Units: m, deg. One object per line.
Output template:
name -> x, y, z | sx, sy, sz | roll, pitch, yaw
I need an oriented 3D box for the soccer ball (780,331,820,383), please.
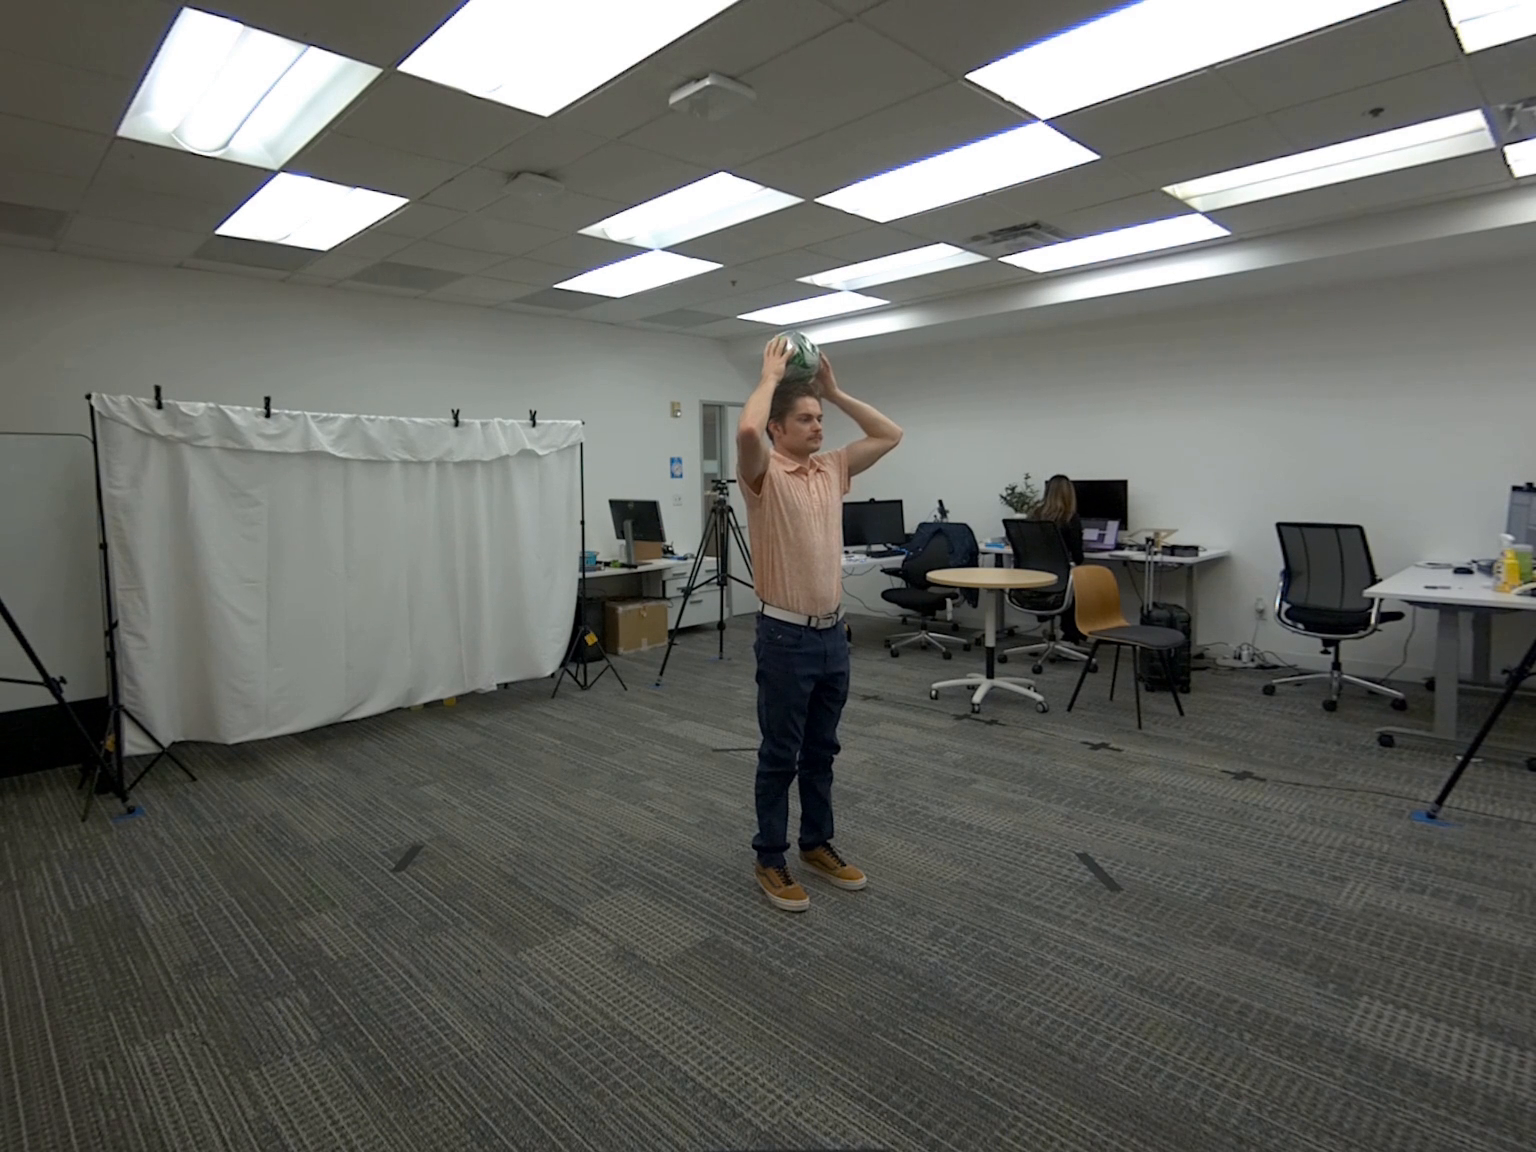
soccer ball -> 0.088, -0.723, 2.872 | 0.187, 0.187, 0.188 | -1, 5, -2
